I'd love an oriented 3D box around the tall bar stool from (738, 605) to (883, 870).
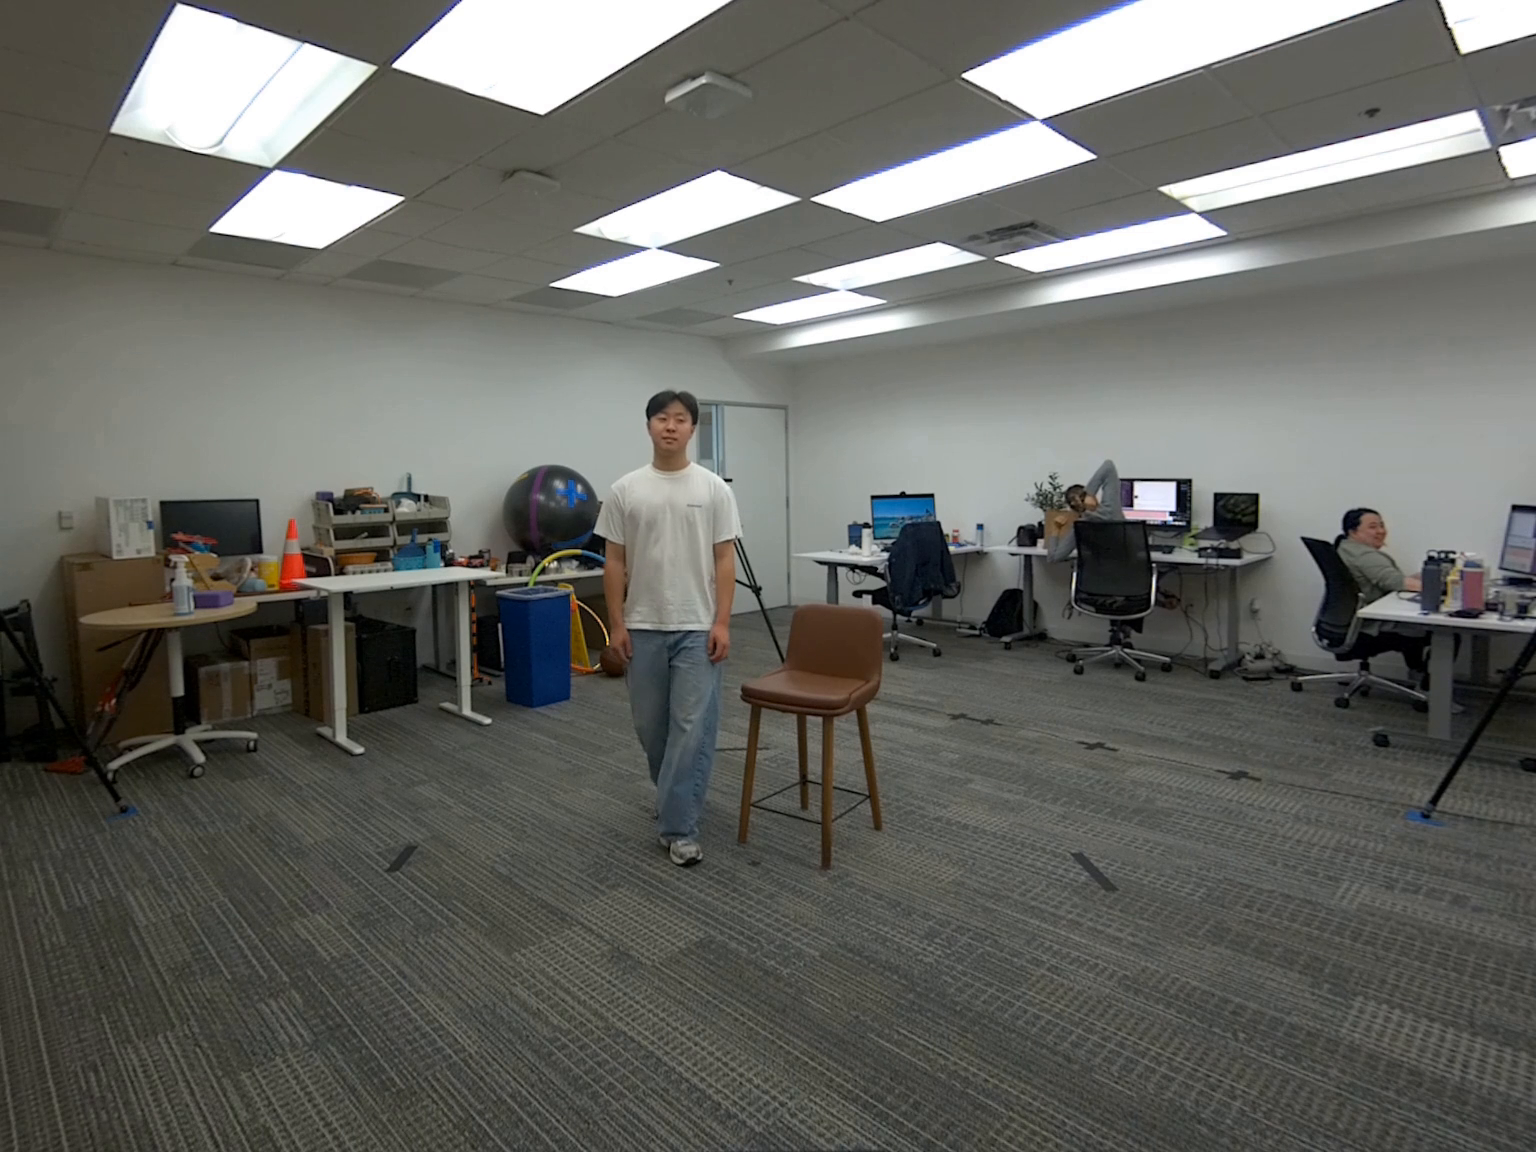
[{"bbox_3d":[0.175,0.579,3.315,0.470,0.888,0.455,2,3,37],"label":"tall bar stool"}]
